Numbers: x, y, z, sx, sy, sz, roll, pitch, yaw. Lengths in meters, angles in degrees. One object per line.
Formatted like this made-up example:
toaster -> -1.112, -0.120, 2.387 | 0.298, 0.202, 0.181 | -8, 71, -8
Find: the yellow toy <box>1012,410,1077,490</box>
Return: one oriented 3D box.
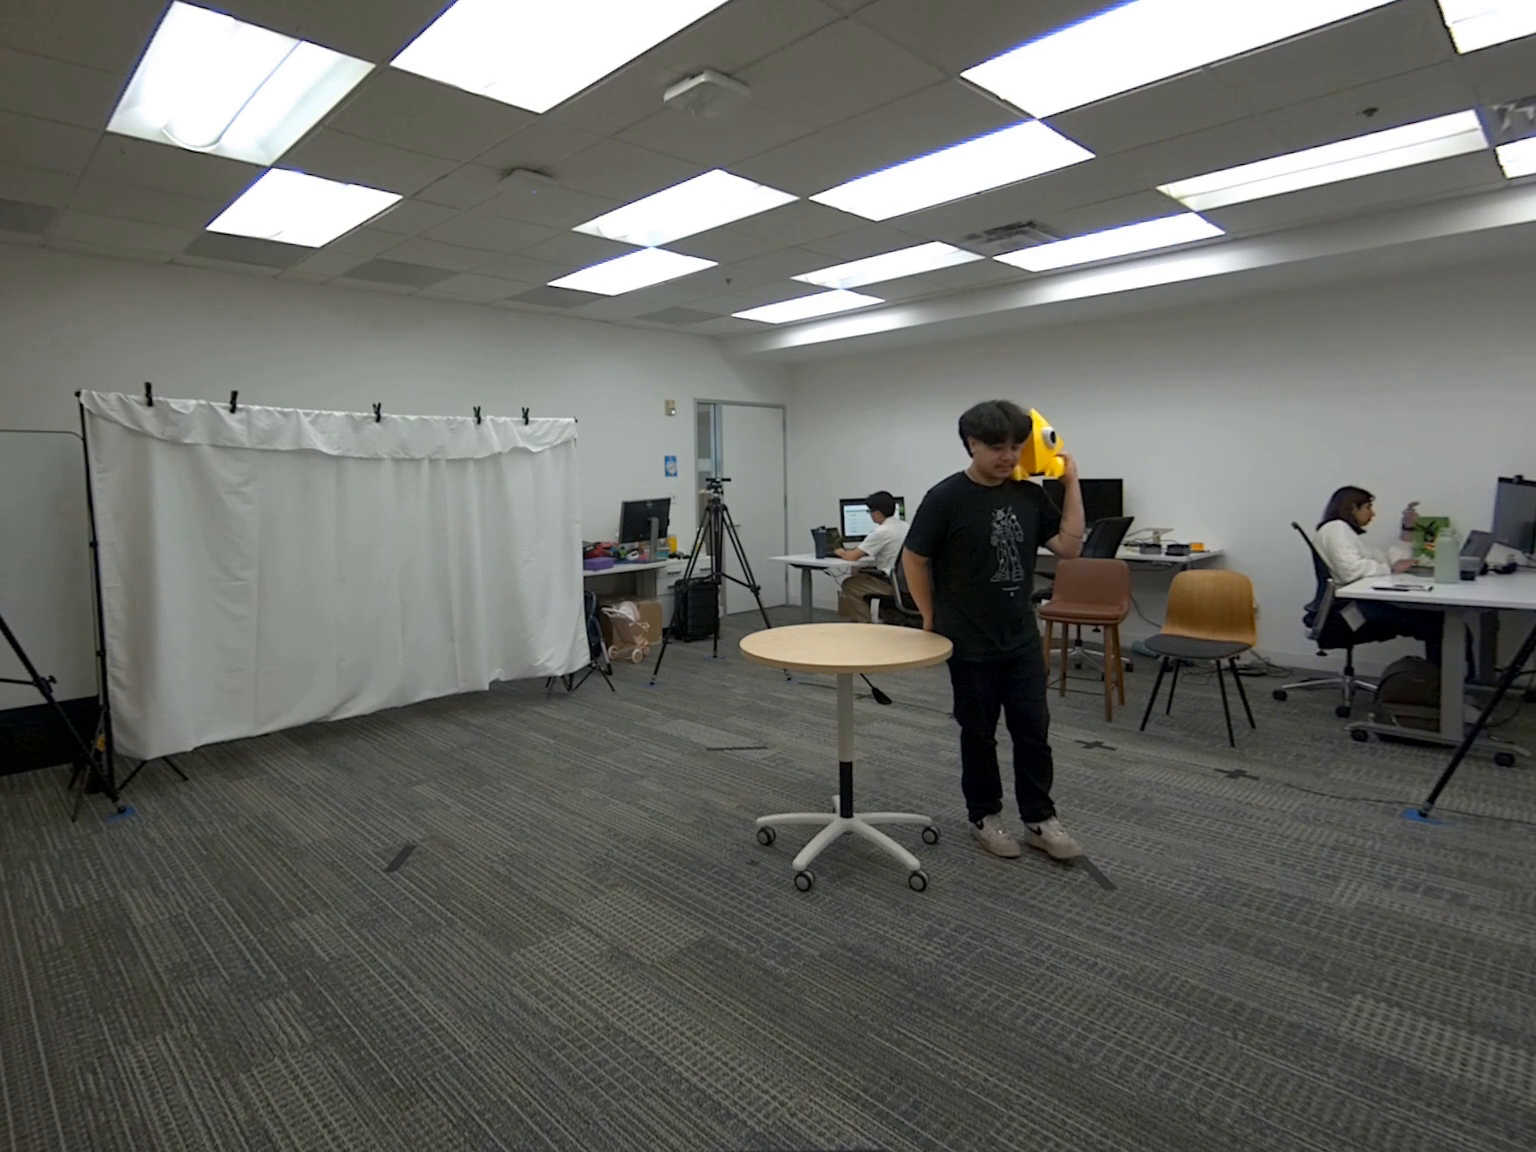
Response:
yellow toy -> 0.973, -0.488, 3.124 | 0.208, 0.227, 0.193 | -4, 17, 19
